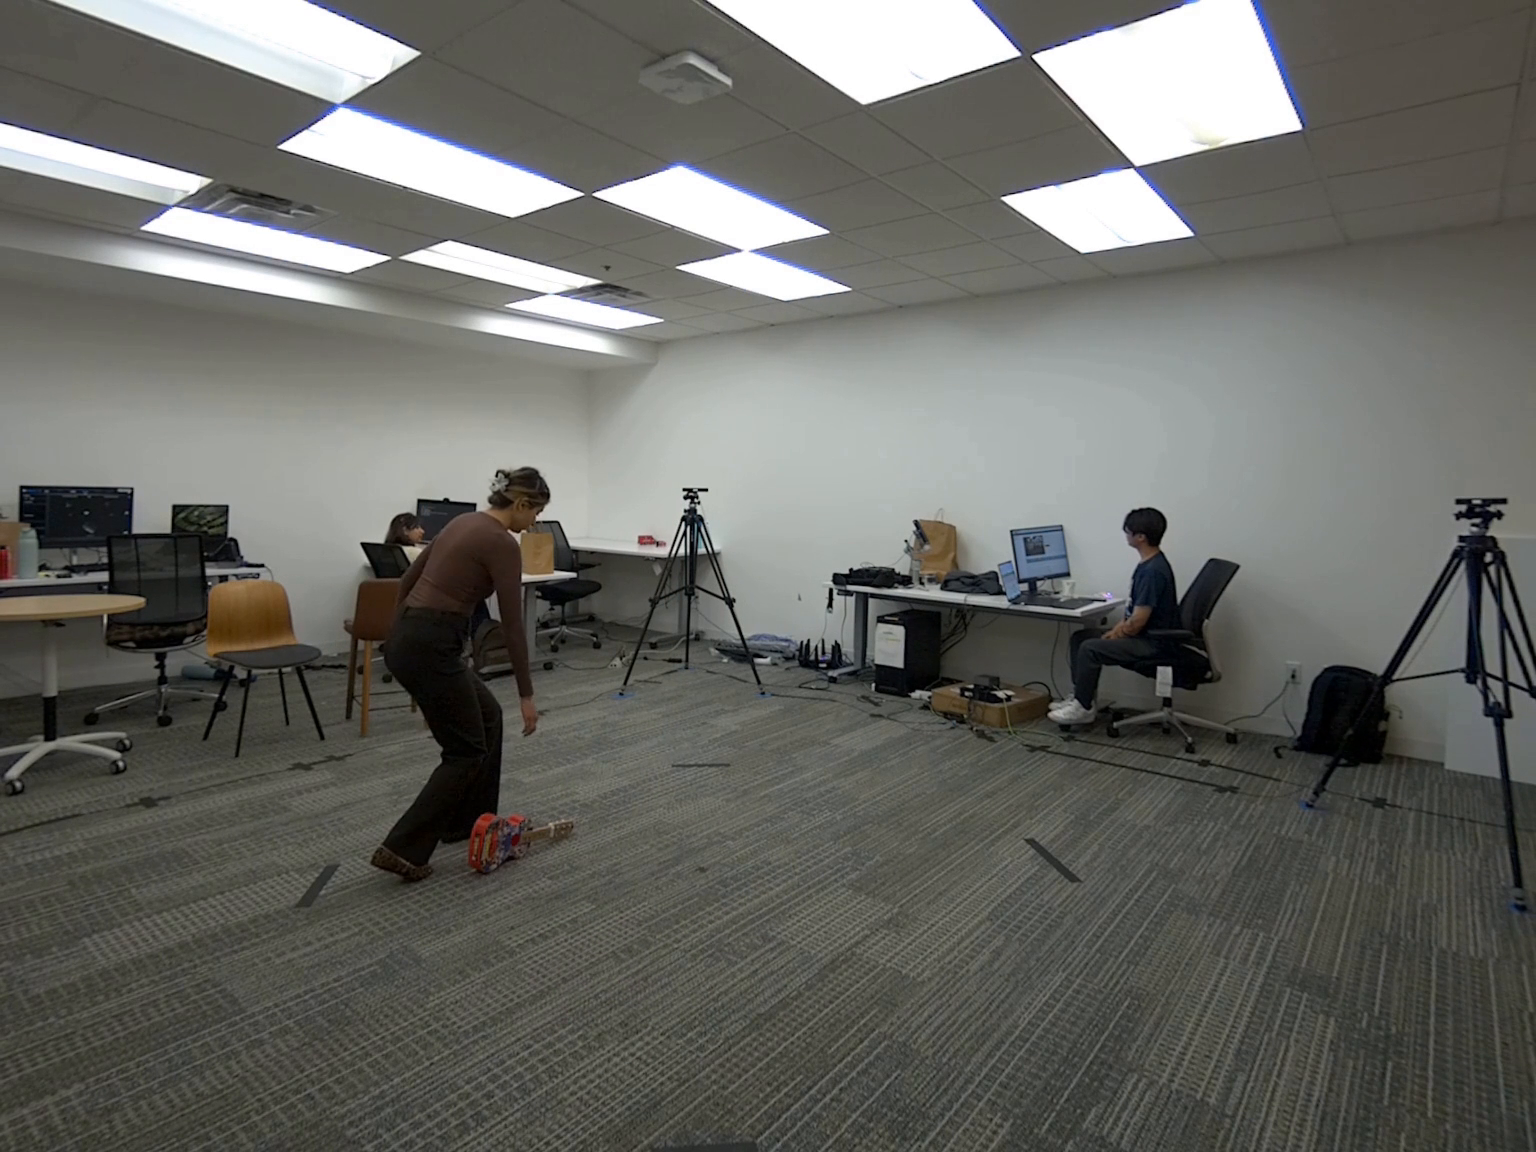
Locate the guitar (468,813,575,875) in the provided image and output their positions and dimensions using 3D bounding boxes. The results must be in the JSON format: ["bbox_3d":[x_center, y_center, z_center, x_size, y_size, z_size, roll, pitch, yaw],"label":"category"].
[{"bbox_3d":[-0.942,1.011,3.214,0.073,0.194,0.479,6,-12,29],"label":"guitar"}]
